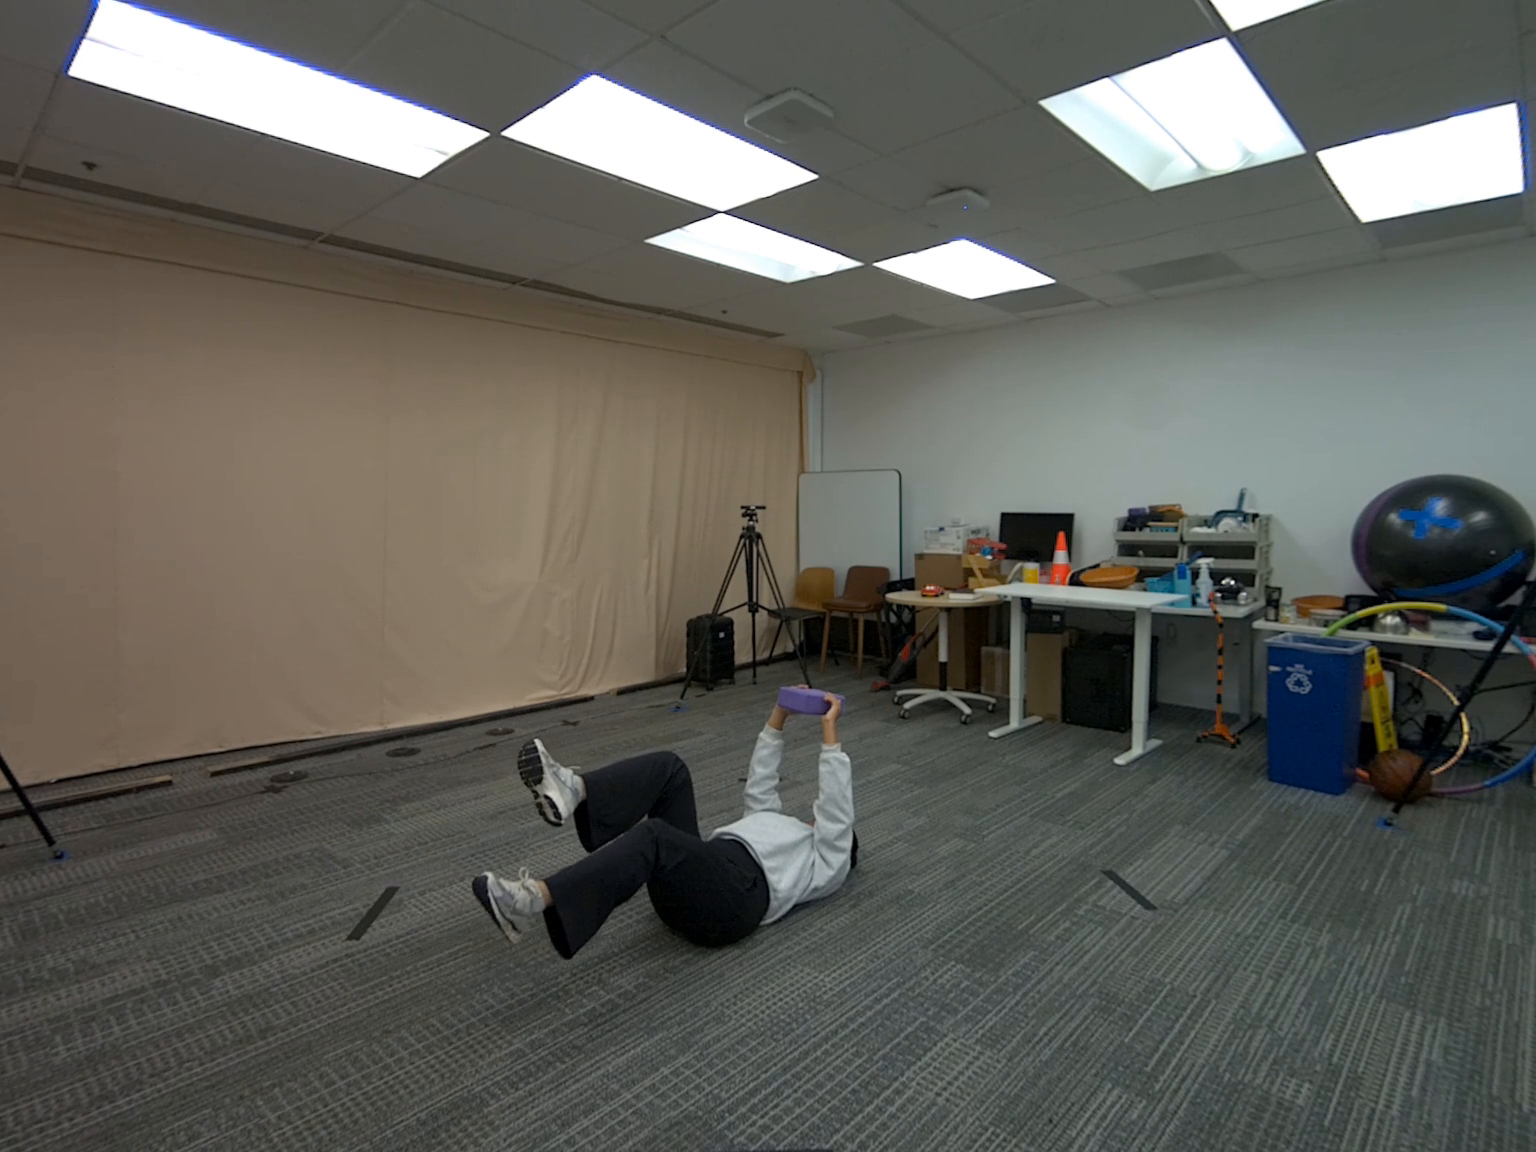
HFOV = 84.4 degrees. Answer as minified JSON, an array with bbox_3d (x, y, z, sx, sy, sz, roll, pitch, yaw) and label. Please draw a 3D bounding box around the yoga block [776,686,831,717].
[{"bbox_3d":[0.170,0.478,3.196,0.154,0.076,0.221,8,-2,43],"label":"yoga block"}]
